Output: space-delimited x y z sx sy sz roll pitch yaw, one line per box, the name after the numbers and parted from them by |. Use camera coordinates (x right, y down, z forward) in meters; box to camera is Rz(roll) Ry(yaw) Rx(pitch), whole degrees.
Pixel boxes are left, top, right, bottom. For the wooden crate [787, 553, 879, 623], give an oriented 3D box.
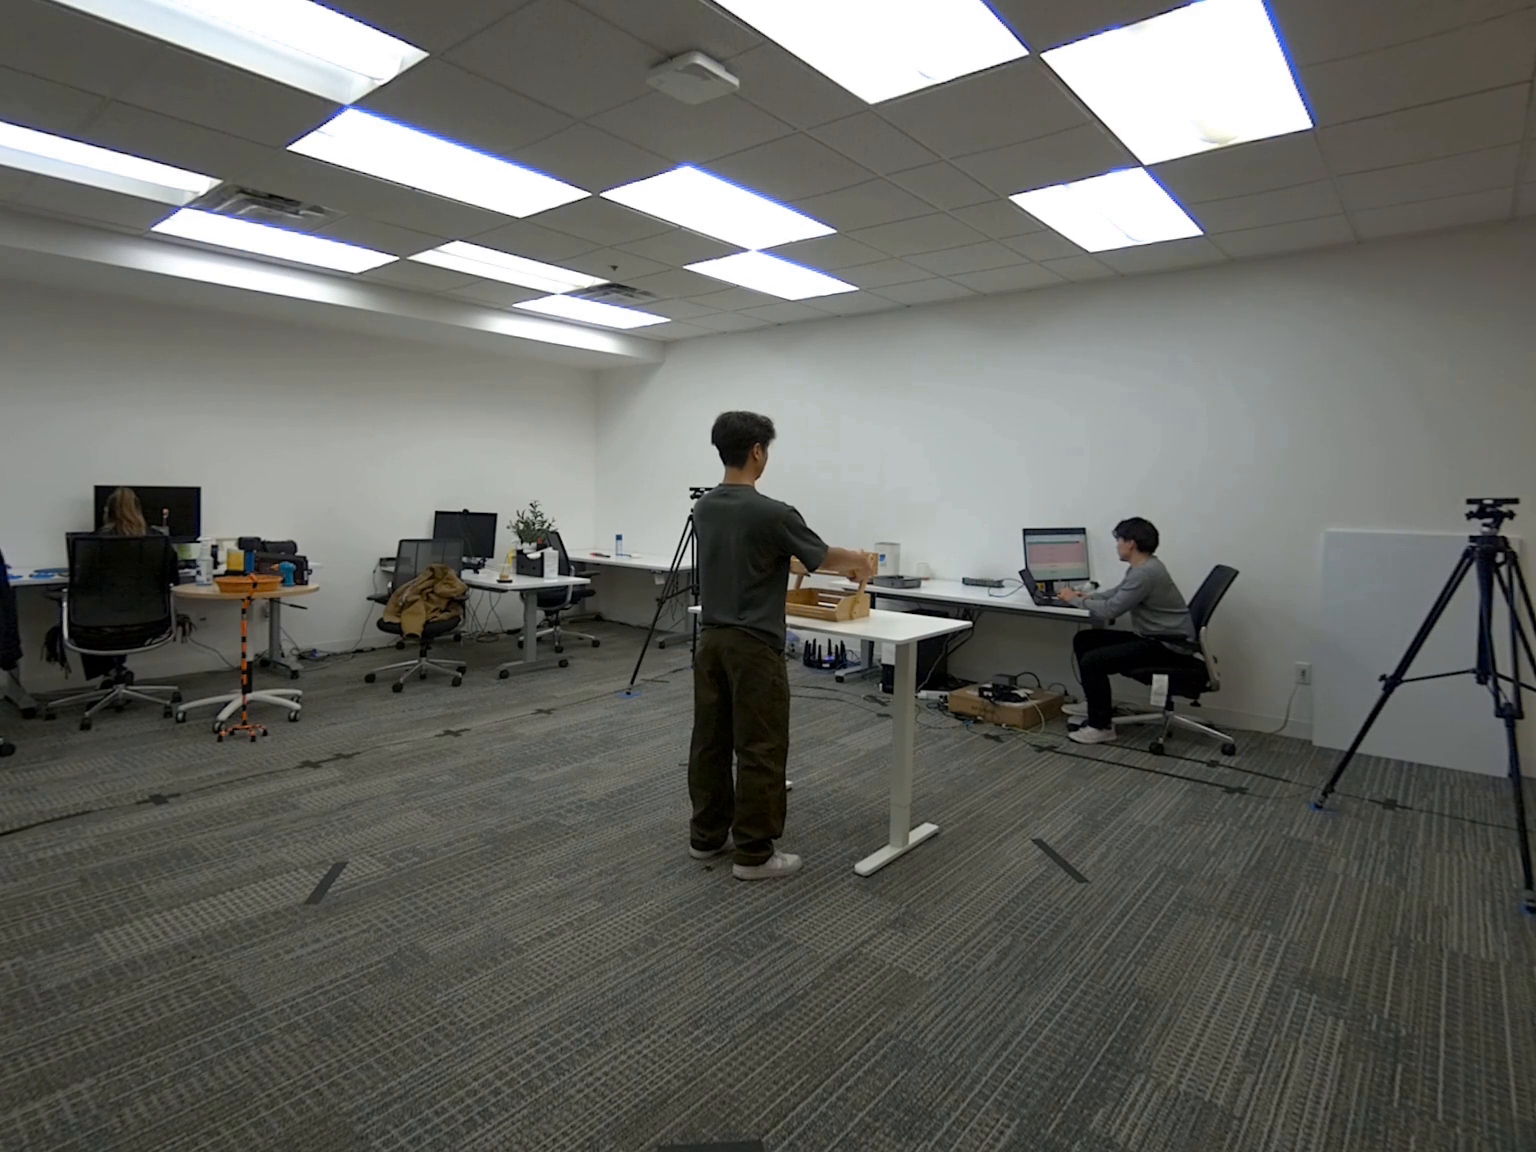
0.233 0.023 3.501 0.335 0.272 0.293 6 6 40 | wooden crate
